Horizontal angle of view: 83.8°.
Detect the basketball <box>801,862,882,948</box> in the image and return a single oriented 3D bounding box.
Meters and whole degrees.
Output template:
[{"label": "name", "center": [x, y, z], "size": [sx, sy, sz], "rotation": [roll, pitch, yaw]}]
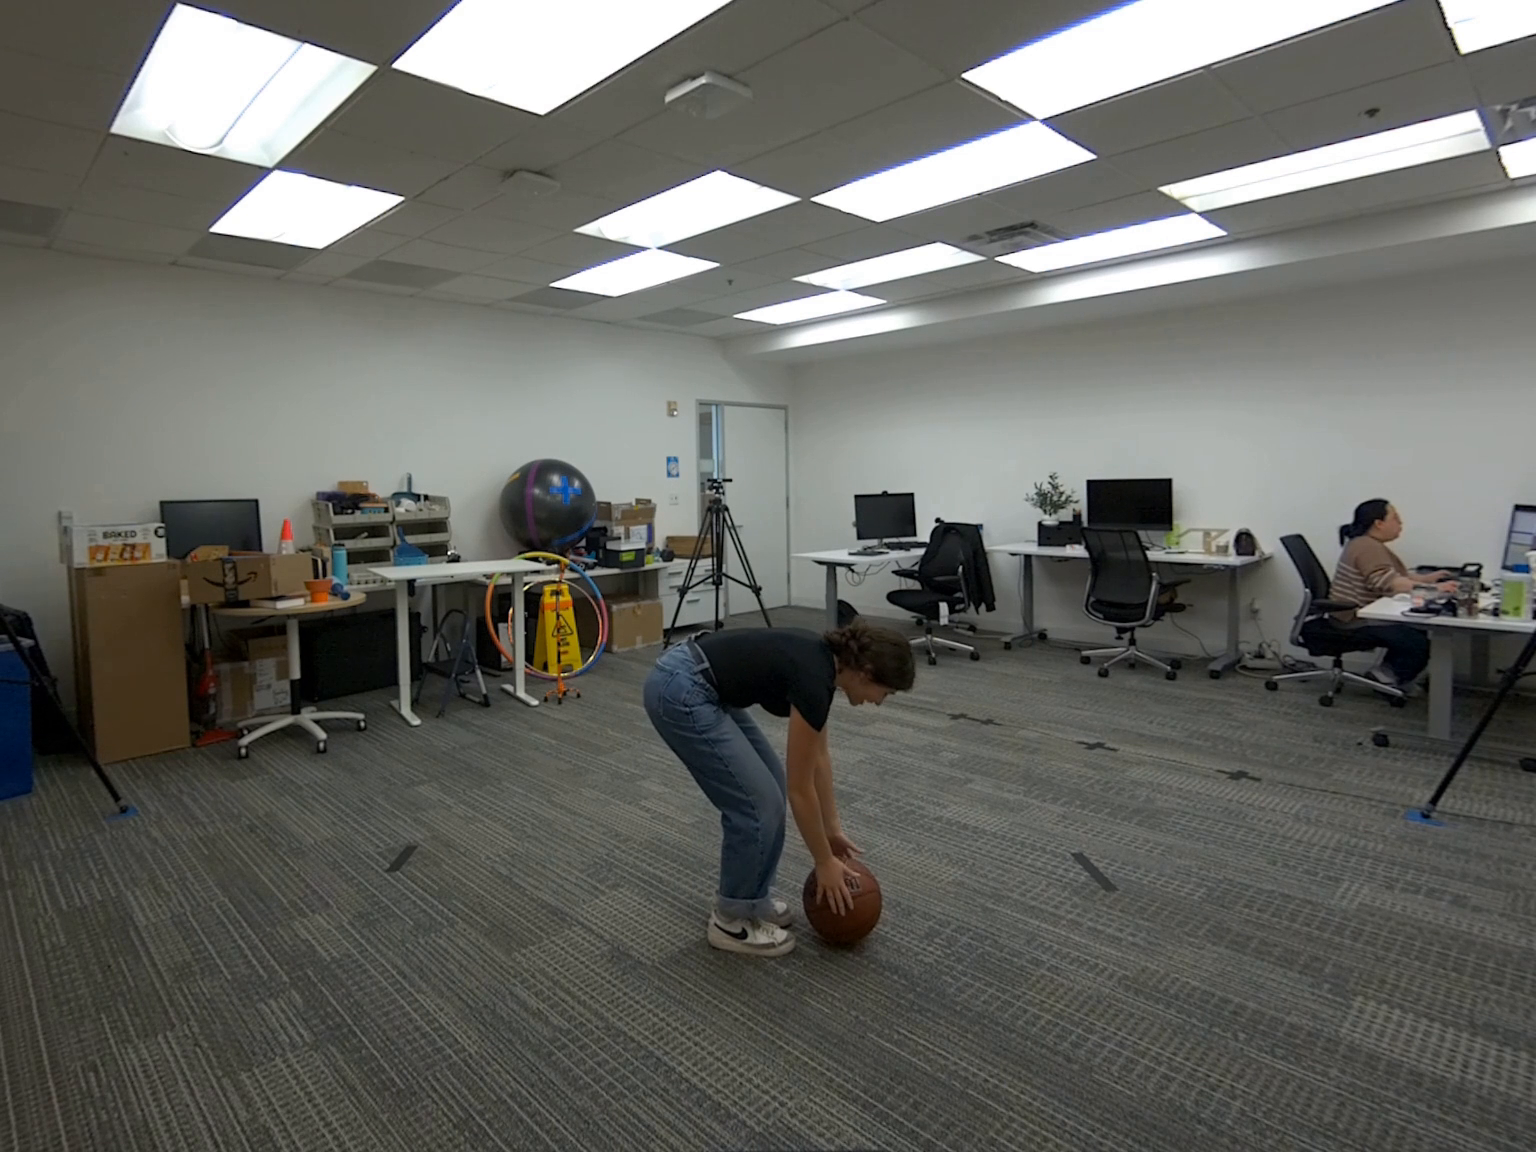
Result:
[{"label": "basketball", "center": [0.225, 0.968, 2.592], "size": [0.236, 0.235, 0.237], "rotation": [-1, 5, -2]}]
